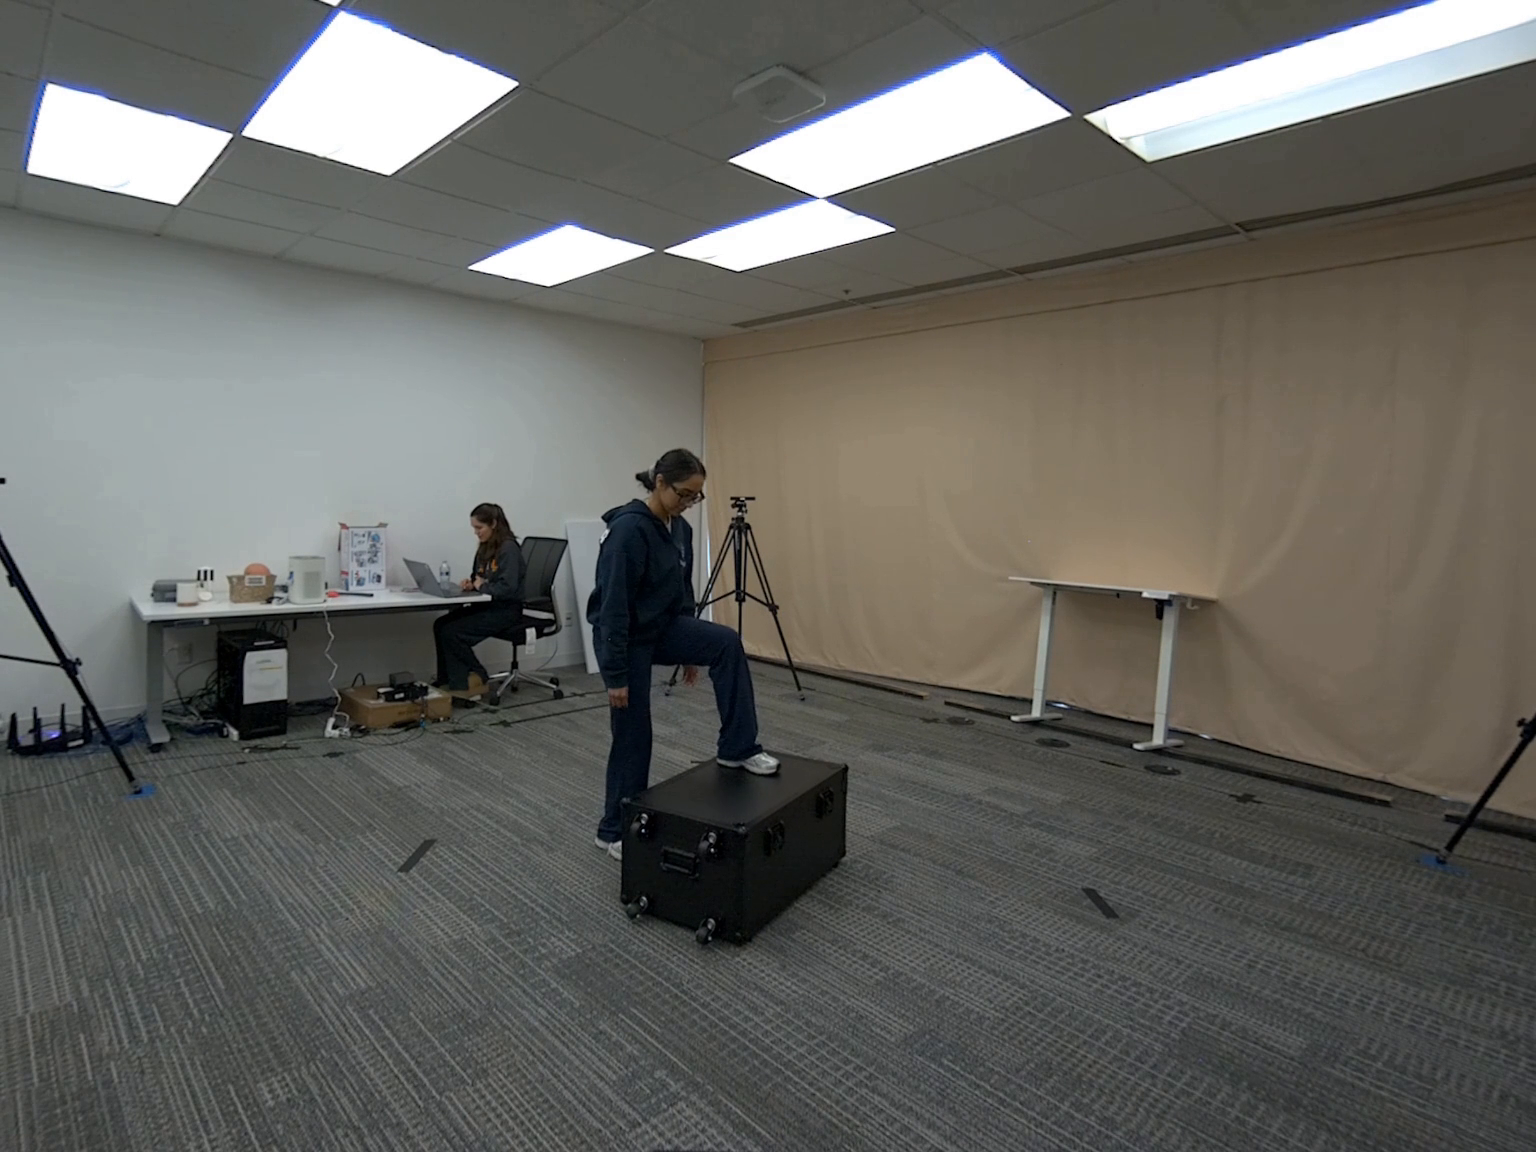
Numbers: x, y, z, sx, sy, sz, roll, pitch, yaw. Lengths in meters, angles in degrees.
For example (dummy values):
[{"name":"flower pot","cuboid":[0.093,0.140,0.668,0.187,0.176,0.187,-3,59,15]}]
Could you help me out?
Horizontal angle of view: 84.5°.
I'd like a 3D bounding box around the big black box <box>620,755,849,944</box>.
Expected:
[{"name":"big black box","cuboid":[-0.119,0.928,3.003,0.532,0.395,0.845,4,5,29]}]
